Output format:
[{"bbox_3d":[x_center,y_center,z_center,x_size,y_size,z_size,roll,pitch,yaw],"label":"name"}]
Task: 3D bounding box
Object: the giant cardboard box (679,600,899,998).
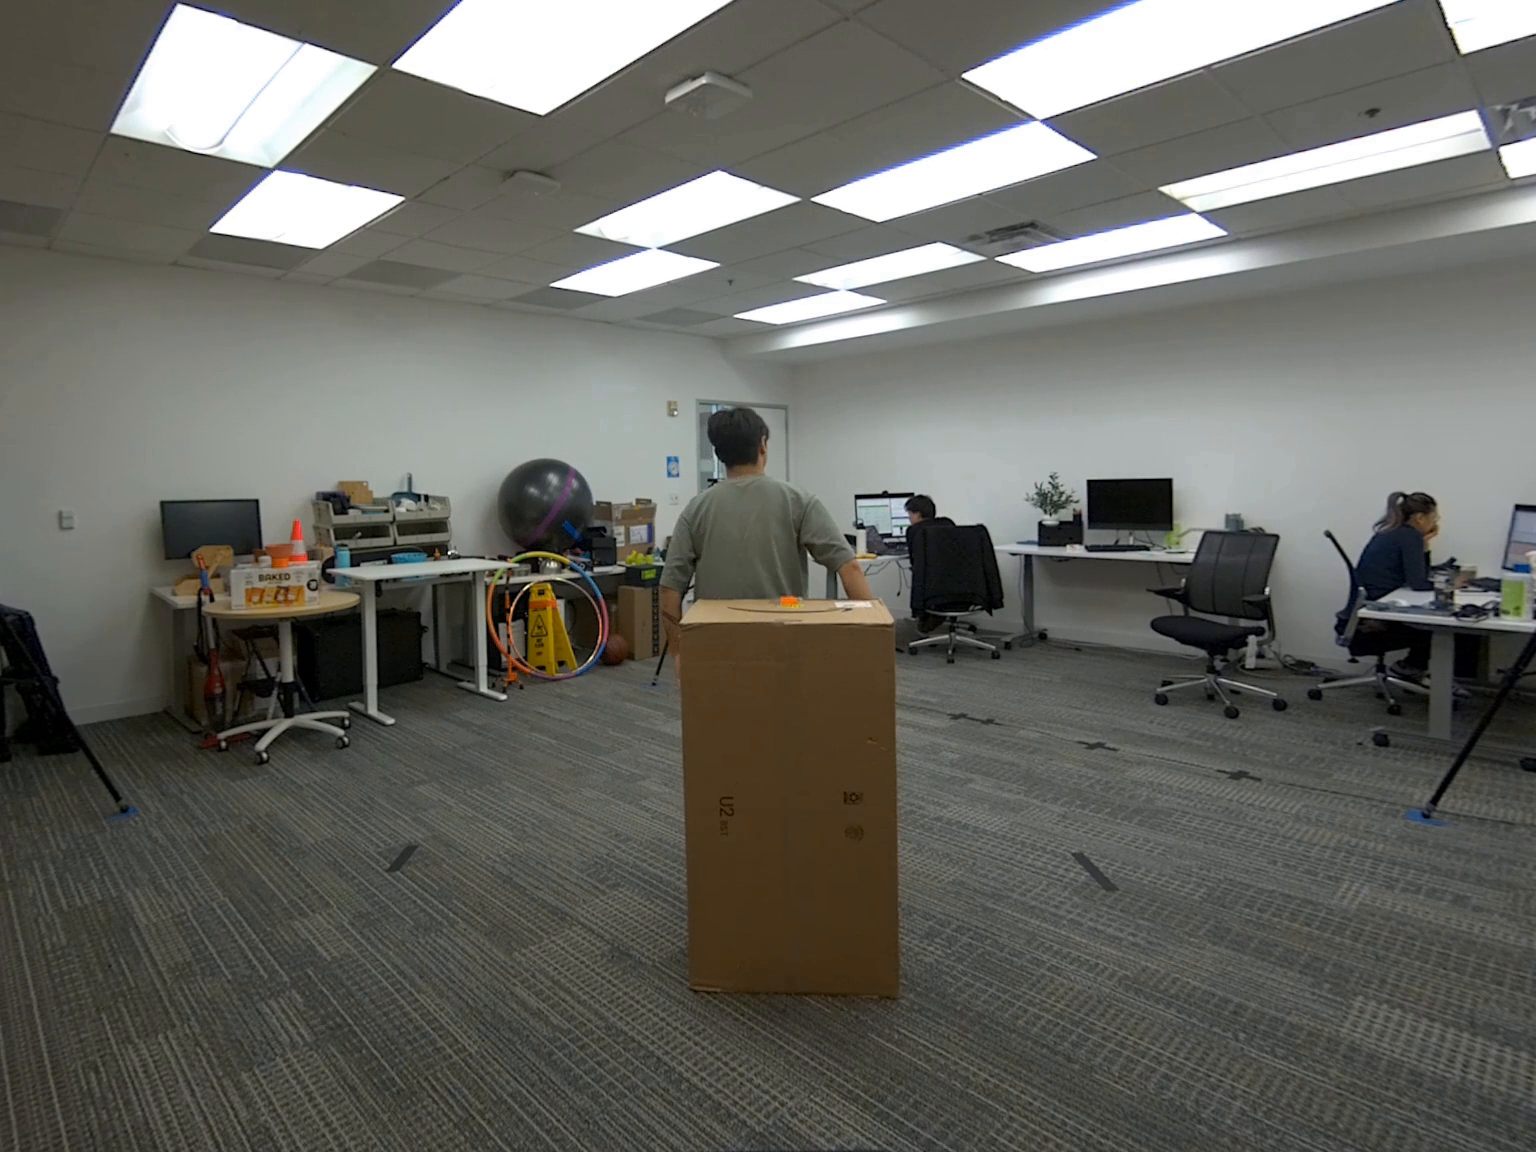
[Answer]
[{"bbox_3d":[0.073,0.605,2.490,0.580,1.022,0.425,-1,3,5],"label":"giant cardboard box"}]
